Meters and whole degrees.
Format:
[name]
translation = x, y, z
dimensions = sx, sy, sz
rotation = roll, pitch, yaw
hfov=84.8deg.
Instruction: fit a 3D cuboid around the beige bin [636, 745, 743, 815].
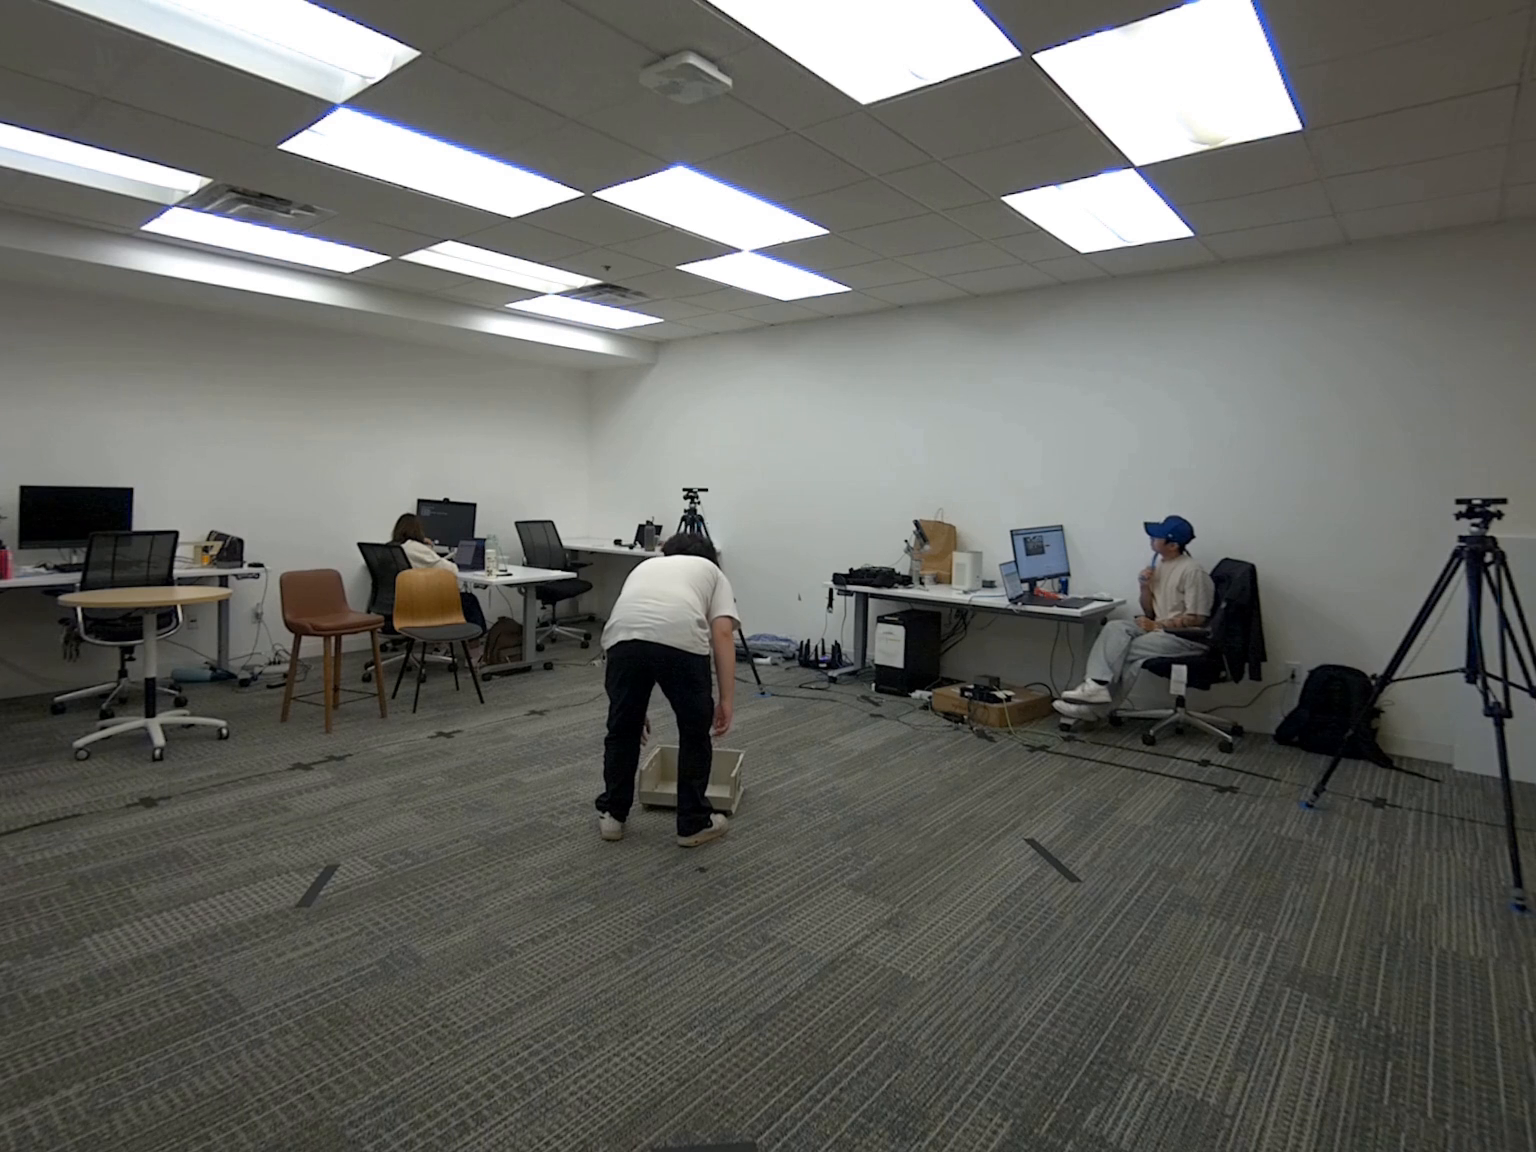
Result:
[beige bin]
translation = -0.342, 0.909, 3.802
dimensions = 0.426, 0.188, 0.375
rotation = 1, 4, 7
